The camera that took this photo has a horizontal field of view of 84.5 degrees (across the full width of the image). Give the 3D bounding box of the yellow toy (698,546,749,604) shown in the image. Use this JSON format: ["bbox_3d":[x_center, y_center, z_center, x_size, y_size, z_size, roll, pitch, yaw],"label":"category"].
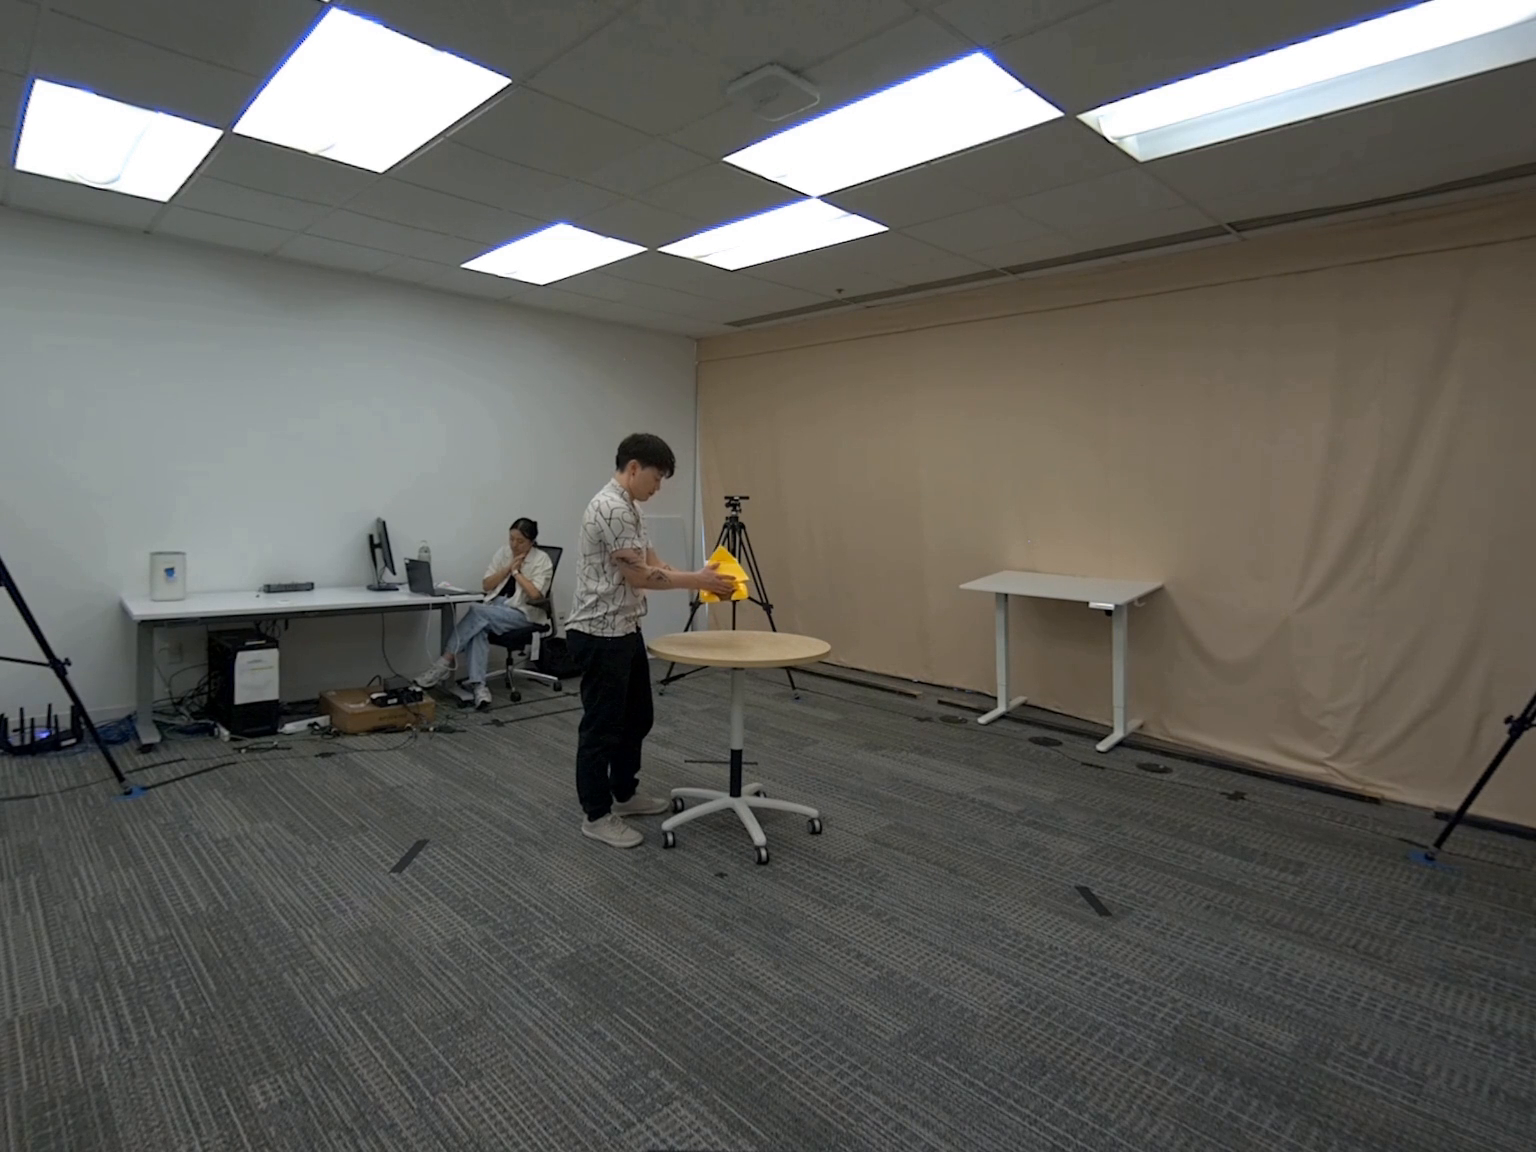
[{"bbox_3d":[-0.200,-0.018,3.494,0.204,0.230,0.194,-6,5,-6],"label":"yellow toy"}]
